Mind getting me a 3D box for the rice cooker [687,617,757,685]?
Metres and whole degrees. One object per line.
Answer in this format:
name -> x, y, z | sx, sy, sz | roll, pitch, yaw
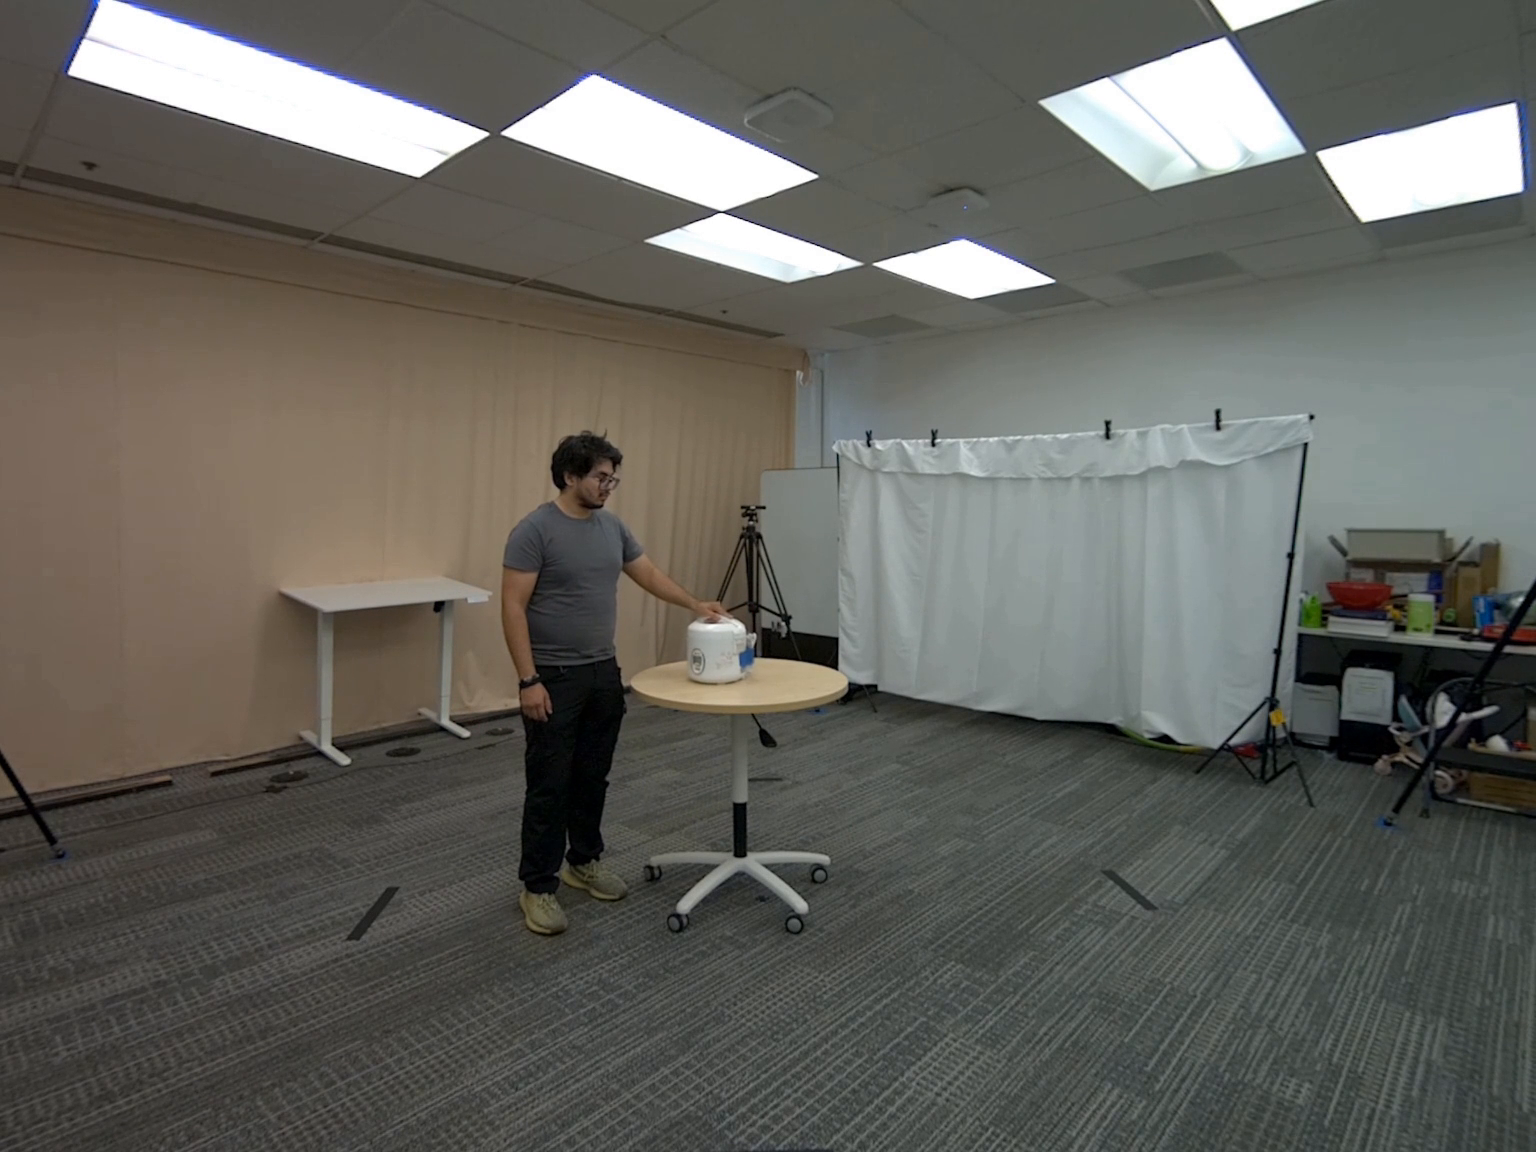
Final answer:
rice cooker -> -0.173, 0.249, 2.960 | 0.227, 0.232, 0.211 | 3, 4, 36
